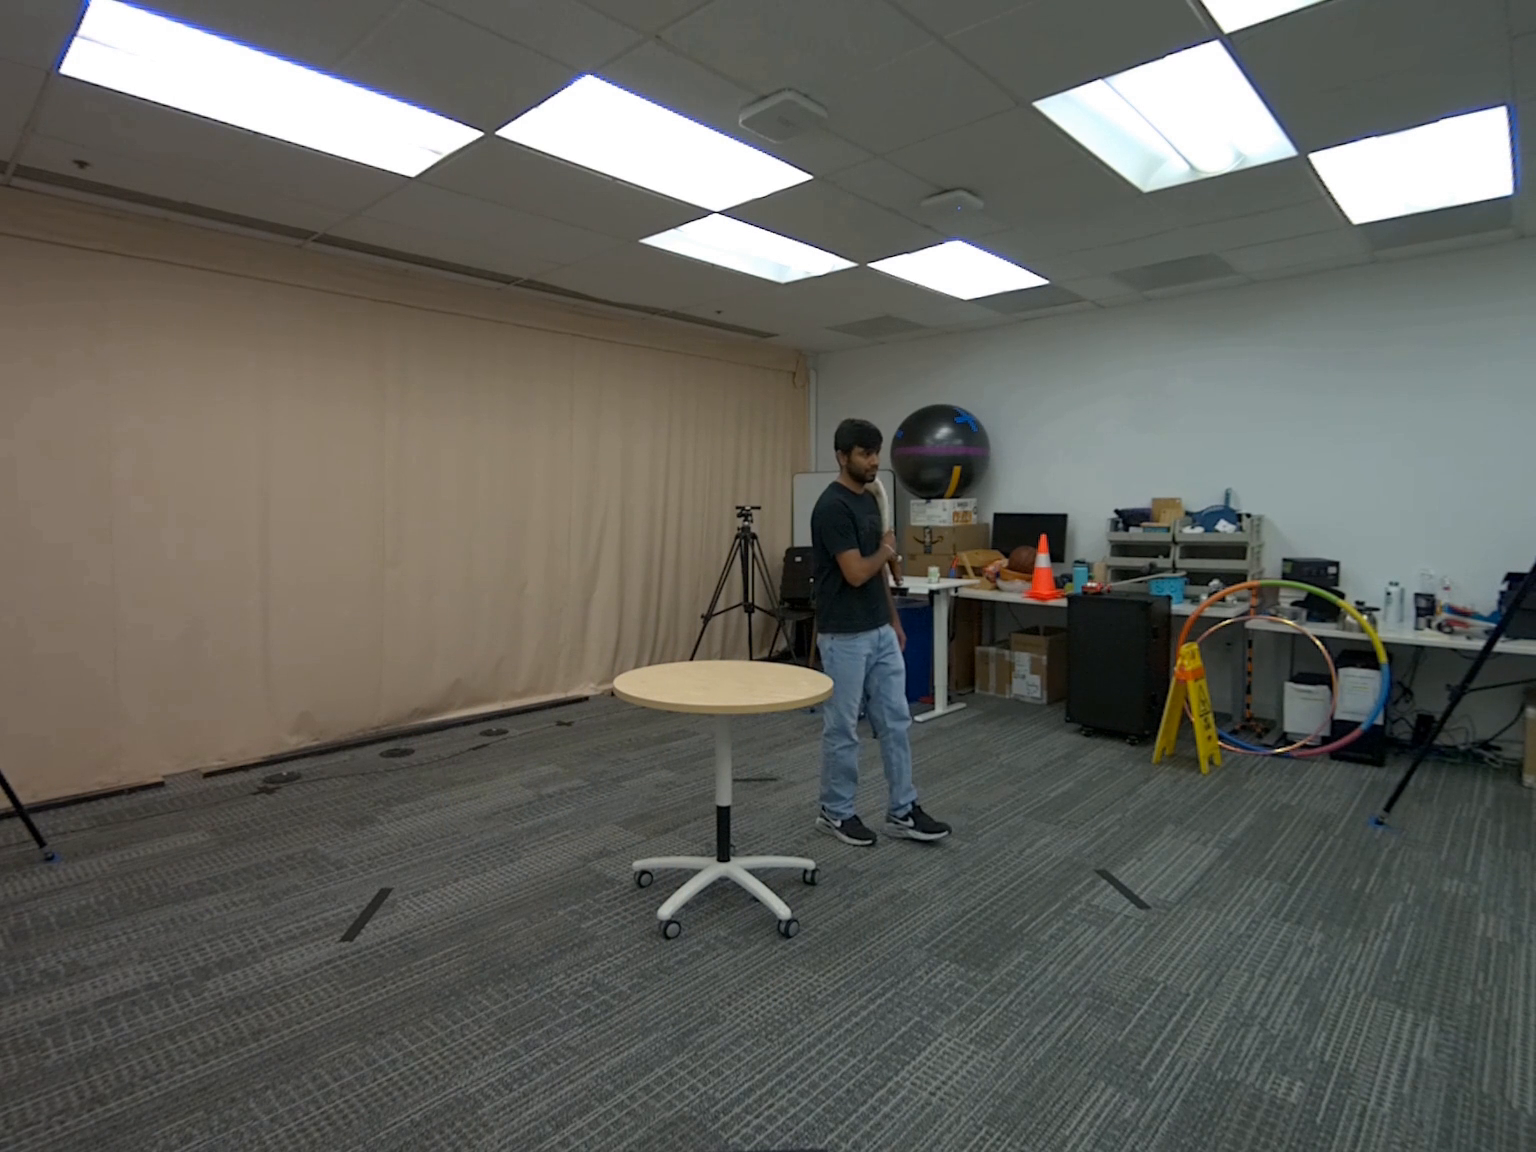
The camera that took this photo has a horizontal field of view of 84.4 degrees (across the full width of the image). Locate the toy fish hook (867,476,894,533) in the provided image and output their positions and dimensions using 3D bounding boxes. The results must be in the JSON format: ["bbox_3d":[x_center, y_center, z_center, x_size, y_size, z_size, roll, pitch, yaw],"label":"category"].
[{"bbox_3d":[0.463,-0.188,3.641,0.047,0.509,0.230,-9,-8,-44],"label":"toy fish hook"}]
